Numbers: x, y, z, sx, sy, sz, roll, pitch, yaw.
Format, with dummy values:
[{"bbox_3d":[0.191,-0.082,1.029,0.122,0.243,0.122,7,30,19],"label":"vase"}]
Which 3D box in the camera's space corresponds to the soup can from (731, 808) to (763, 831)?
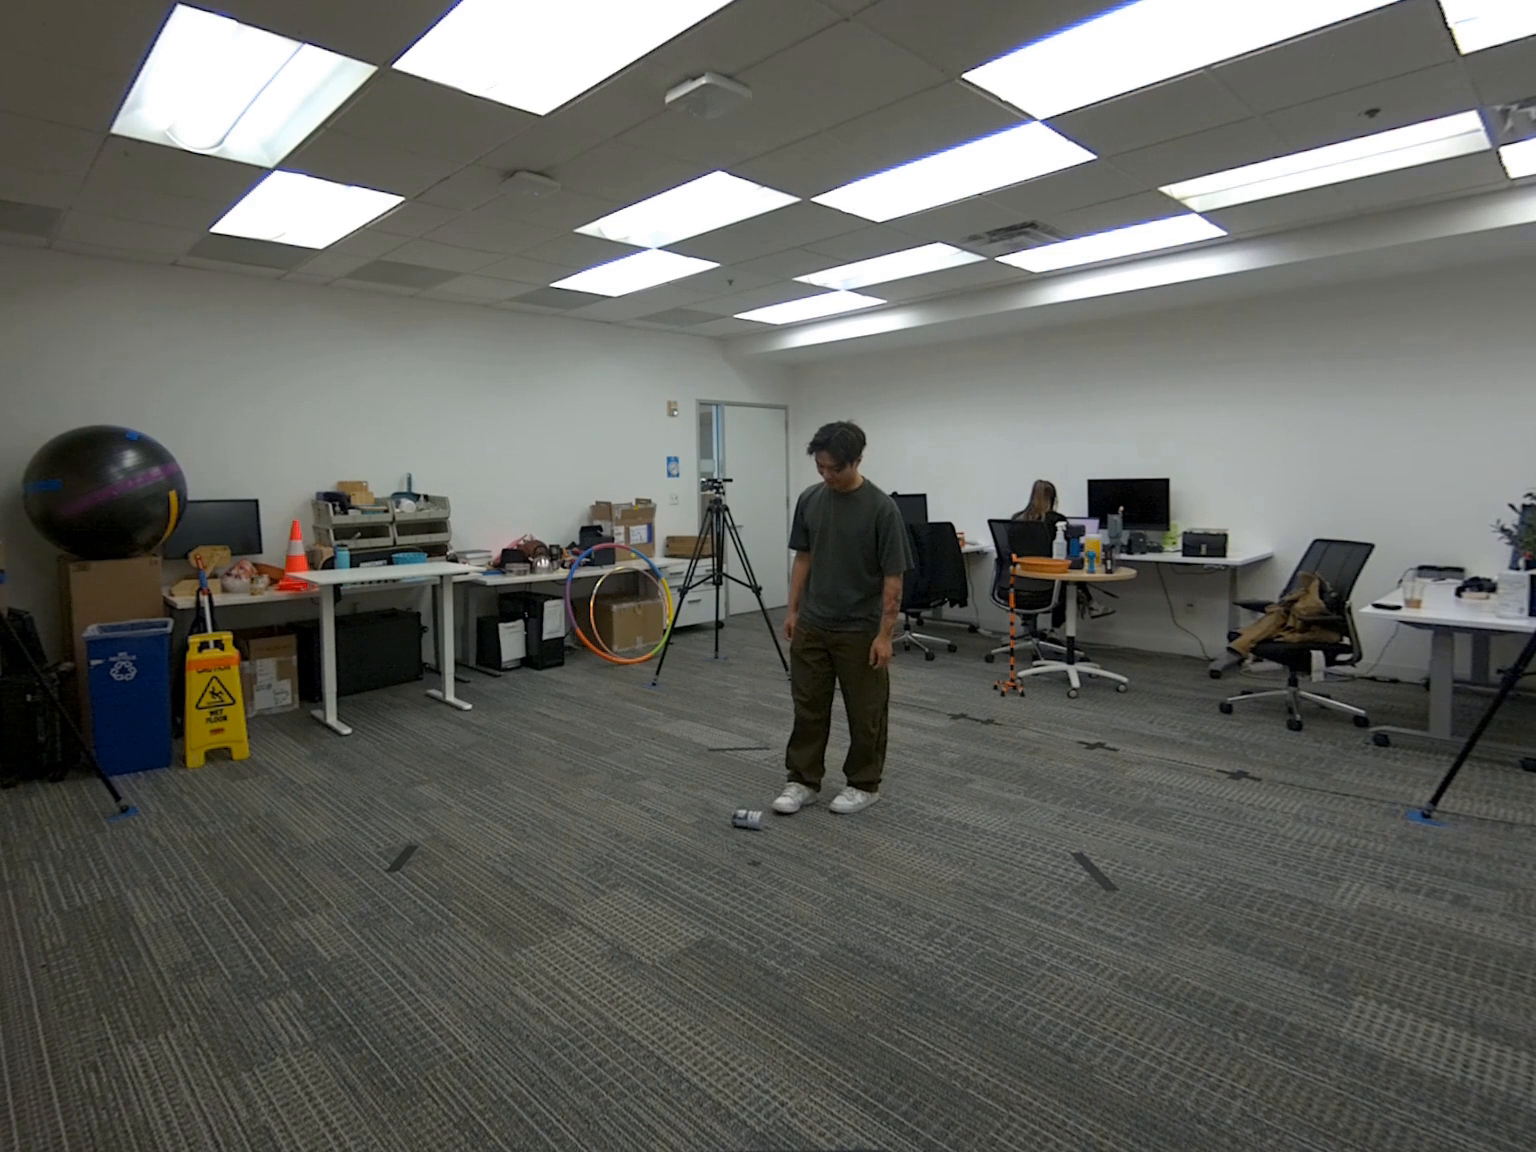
[{"bbox_3d":[-0.056,0.996,3.451,0.123,0.067,0.066,0,5,11],"label":"soup can"}]
